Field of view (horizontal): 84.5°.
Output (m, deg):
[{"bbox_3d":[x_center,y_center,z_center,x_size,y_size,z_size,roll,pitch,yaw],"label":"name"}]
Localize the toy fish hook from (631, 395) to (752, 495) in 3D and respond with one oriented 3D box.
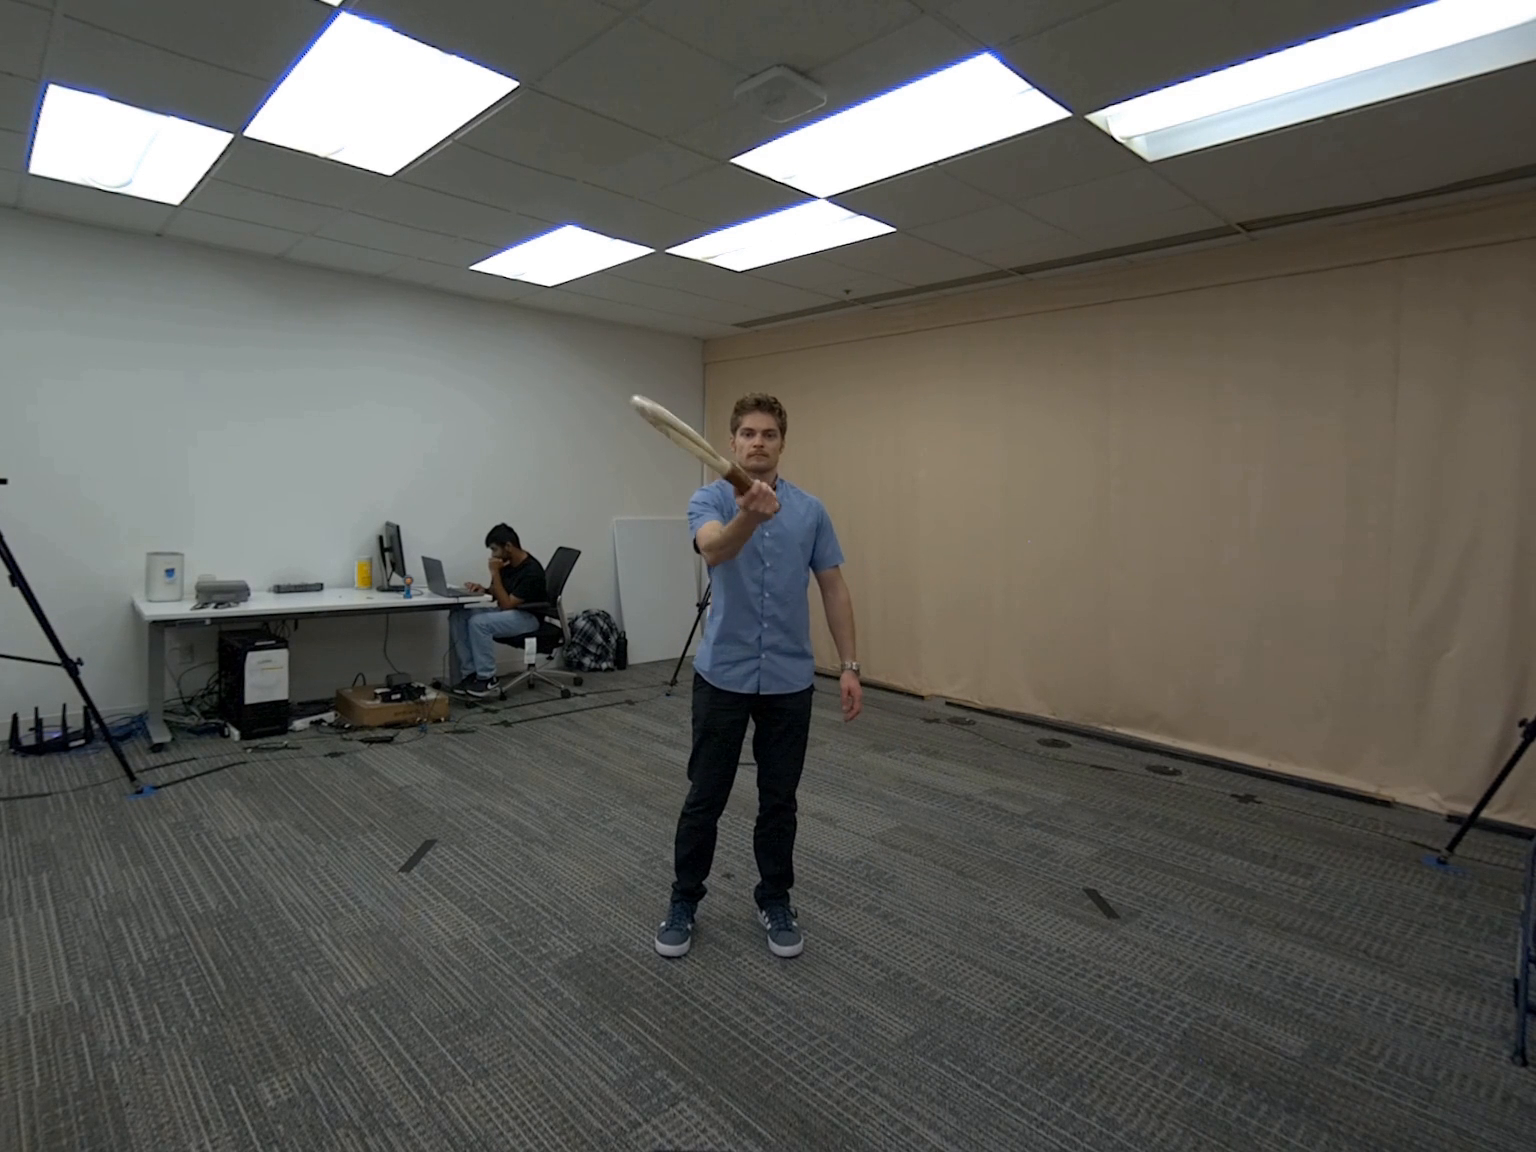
[{"bbox_3d":[-0.123,-0.252,1.951,0.491,0.048,0.231,37,4,-36],"label":"toy fish hook"}]
